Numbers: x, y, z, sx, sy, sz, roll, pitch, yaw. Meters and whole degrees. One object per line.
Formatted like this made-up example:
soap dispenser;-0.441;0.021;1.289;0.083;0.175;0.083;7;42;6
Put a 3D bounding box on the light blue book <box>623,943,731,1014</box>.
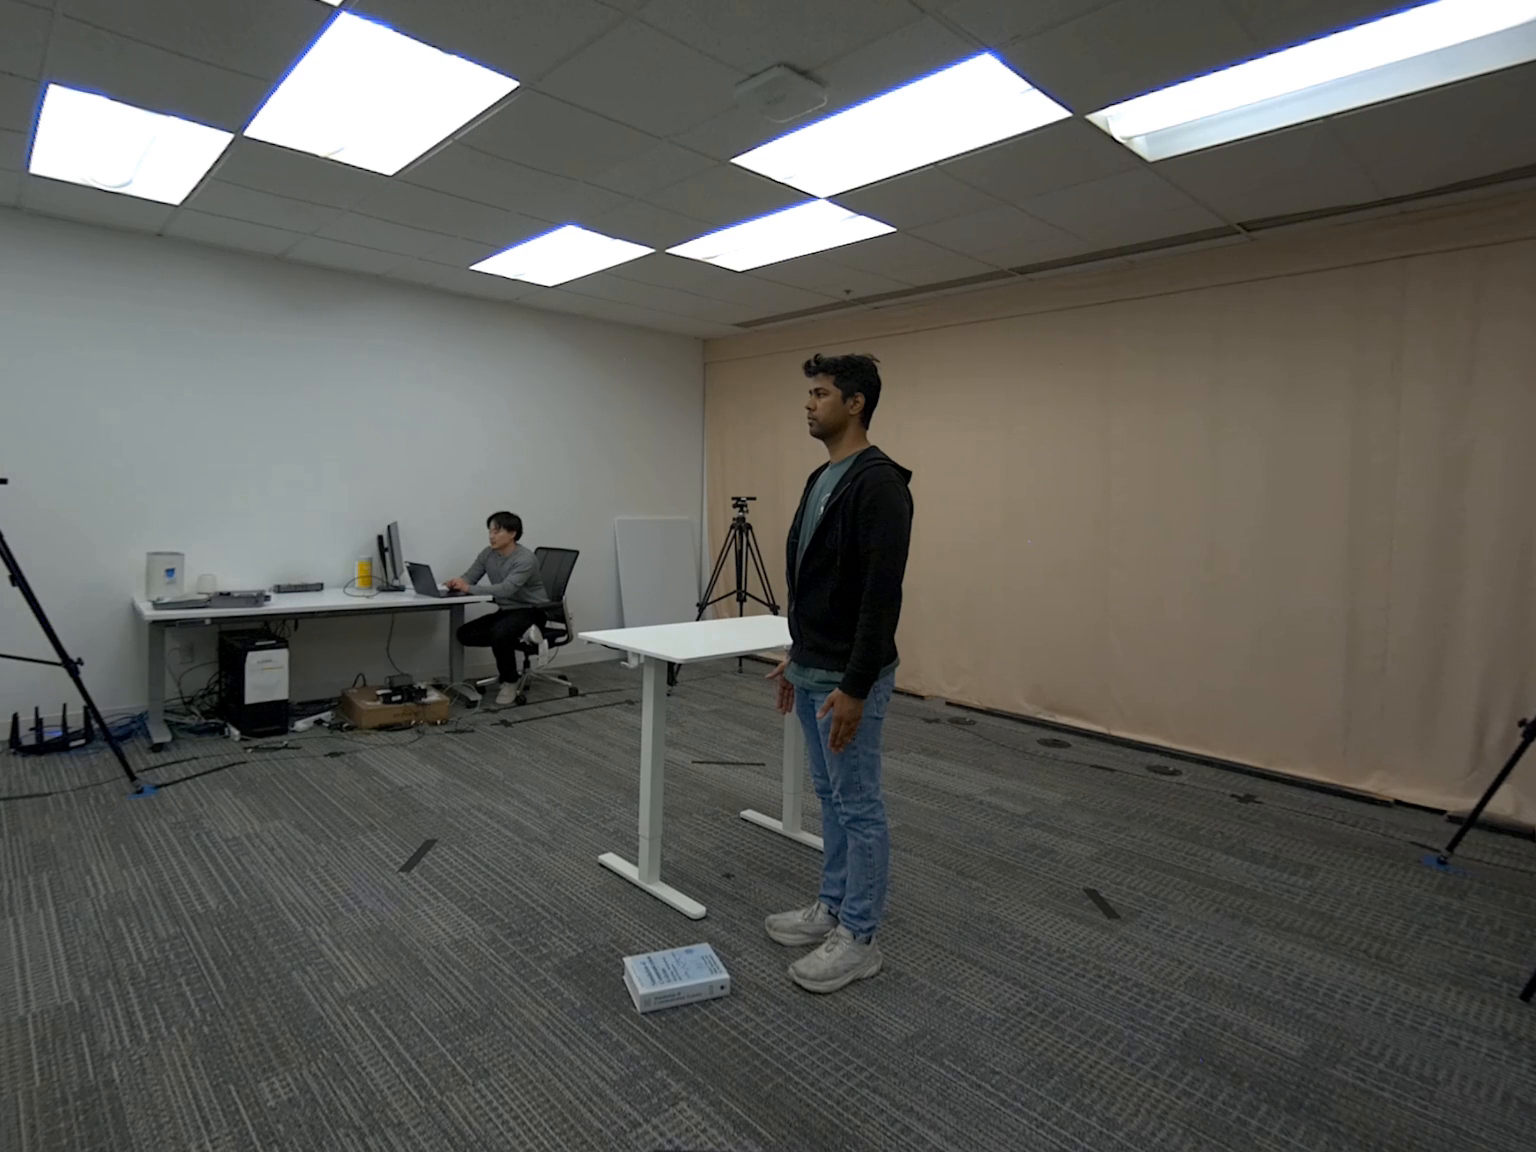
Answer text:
light blue book;-0.264;1.136;2.393;0.257;0.059;0.195;-1;5;-22
